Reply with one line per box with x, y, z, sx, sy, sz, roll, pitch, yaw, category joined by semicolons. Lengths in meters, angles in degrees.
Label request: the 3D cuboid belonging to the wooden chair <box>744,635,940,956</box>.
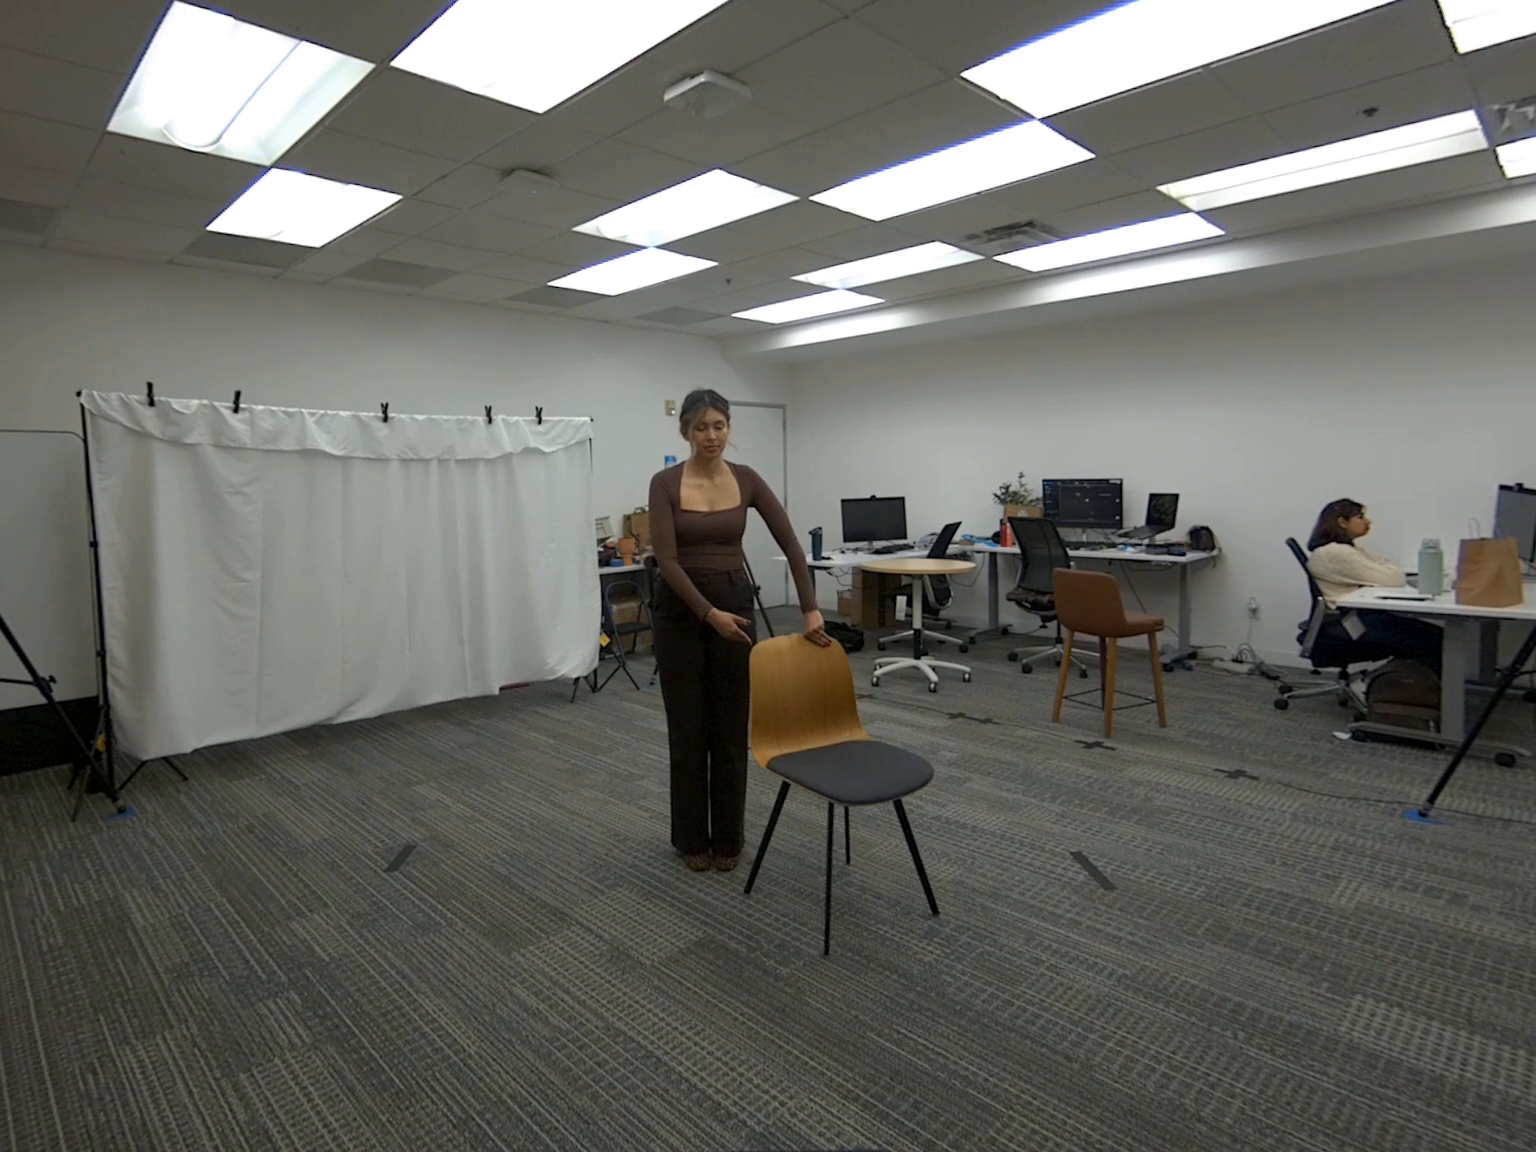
0.222;0.650;2.758;0.466;0.878;0.536;-3;0;-32;wooden chair
